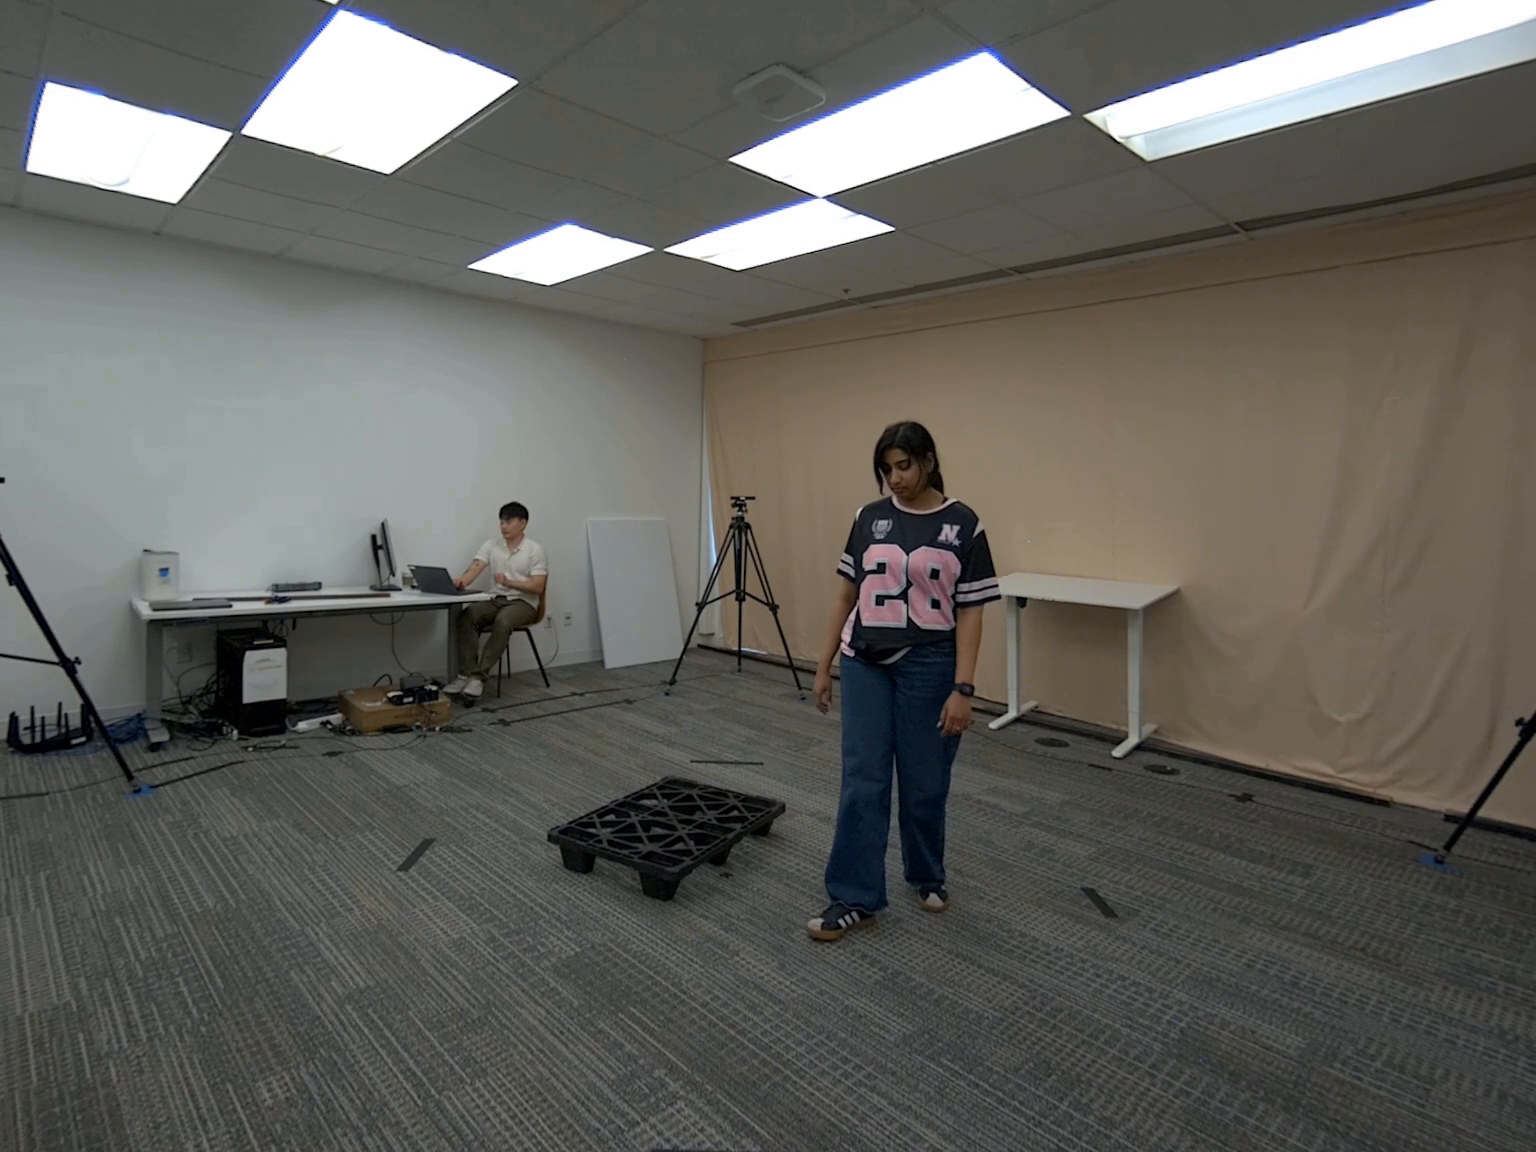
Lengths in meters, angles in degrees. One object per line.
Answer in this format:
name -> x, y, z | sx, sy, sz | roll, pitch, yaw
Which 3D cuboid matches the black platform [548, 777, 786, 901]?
black platform -> -0.386, 1.012, 3.315 | 0.618, 0.143, 0.790 | 4, 5, 30
